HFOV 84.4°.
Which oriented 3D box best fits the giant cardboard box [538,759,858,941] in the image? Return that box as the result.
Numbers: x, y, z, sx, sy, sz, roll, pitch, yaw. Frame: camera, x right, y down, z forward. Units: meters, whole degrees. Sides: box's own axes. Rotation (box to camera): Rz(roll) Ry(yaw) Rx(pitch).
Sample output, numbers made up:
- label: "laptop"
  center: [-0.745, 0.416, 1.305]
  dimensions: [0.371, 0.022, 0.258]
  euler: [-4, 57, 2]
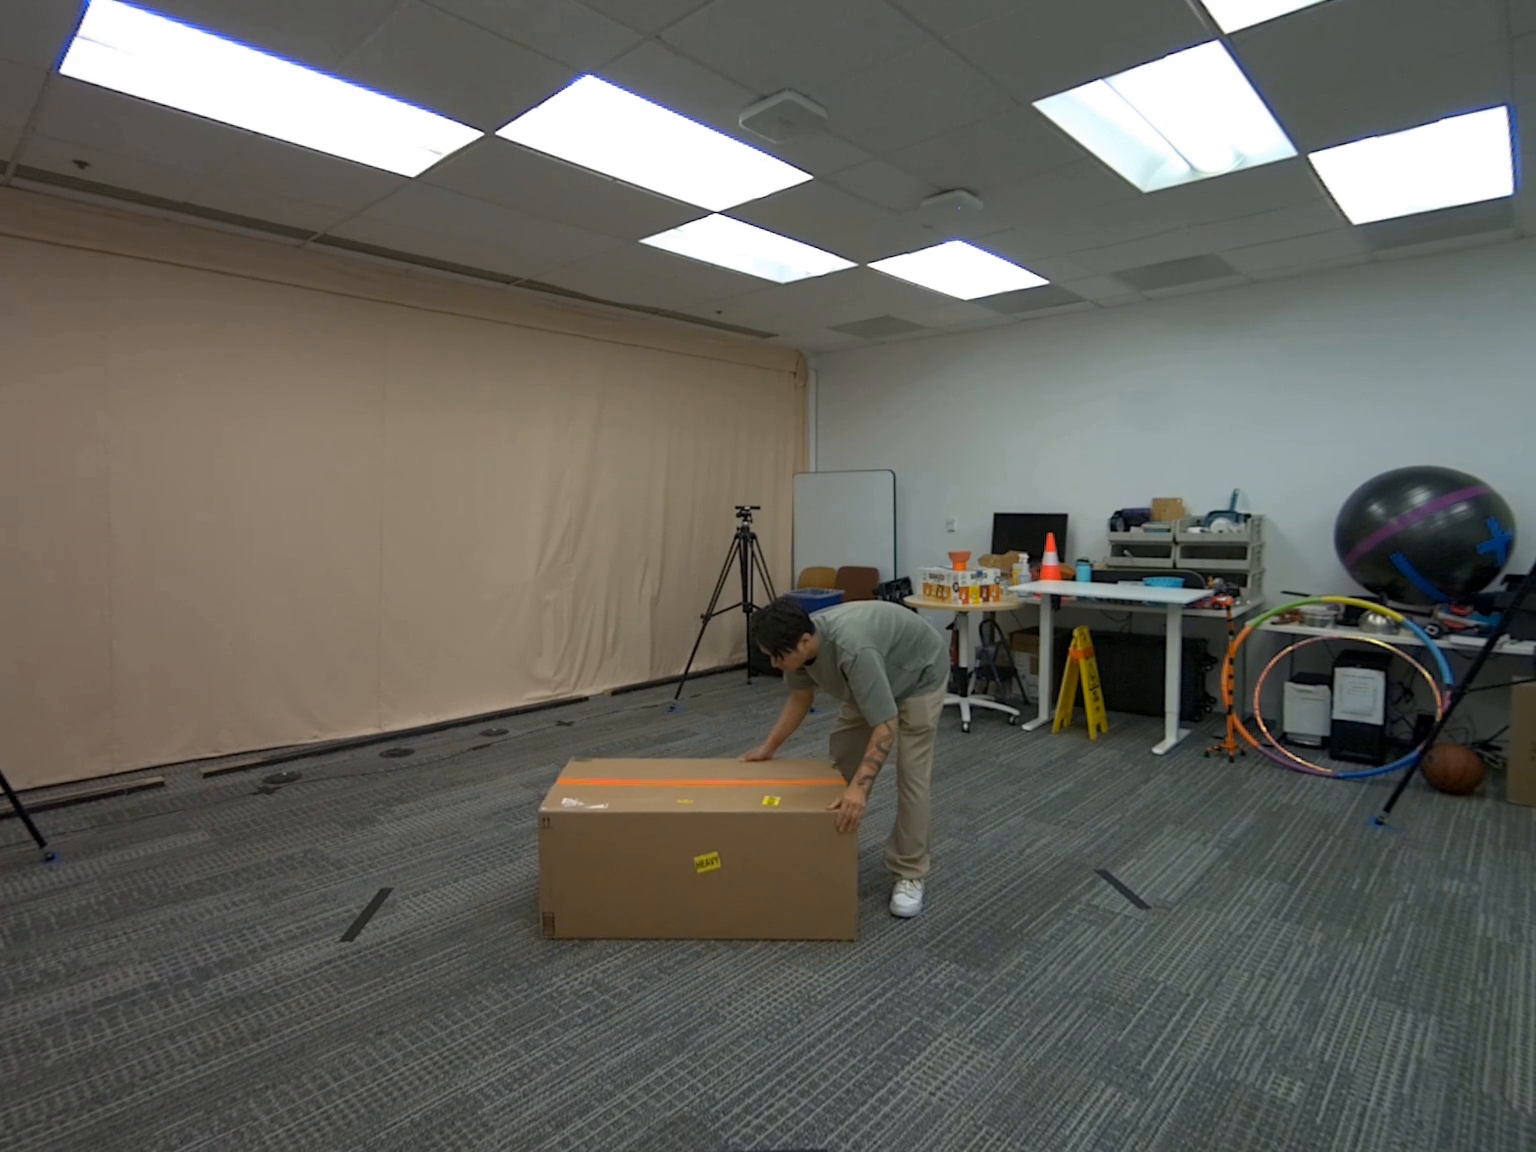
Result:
- label: "giant cardboard box"
  center: [-0.241, 0.927, 2.970]
  dimensions: [1.027, 0.425, 0.578]
  euler: [1, 3, 0]
